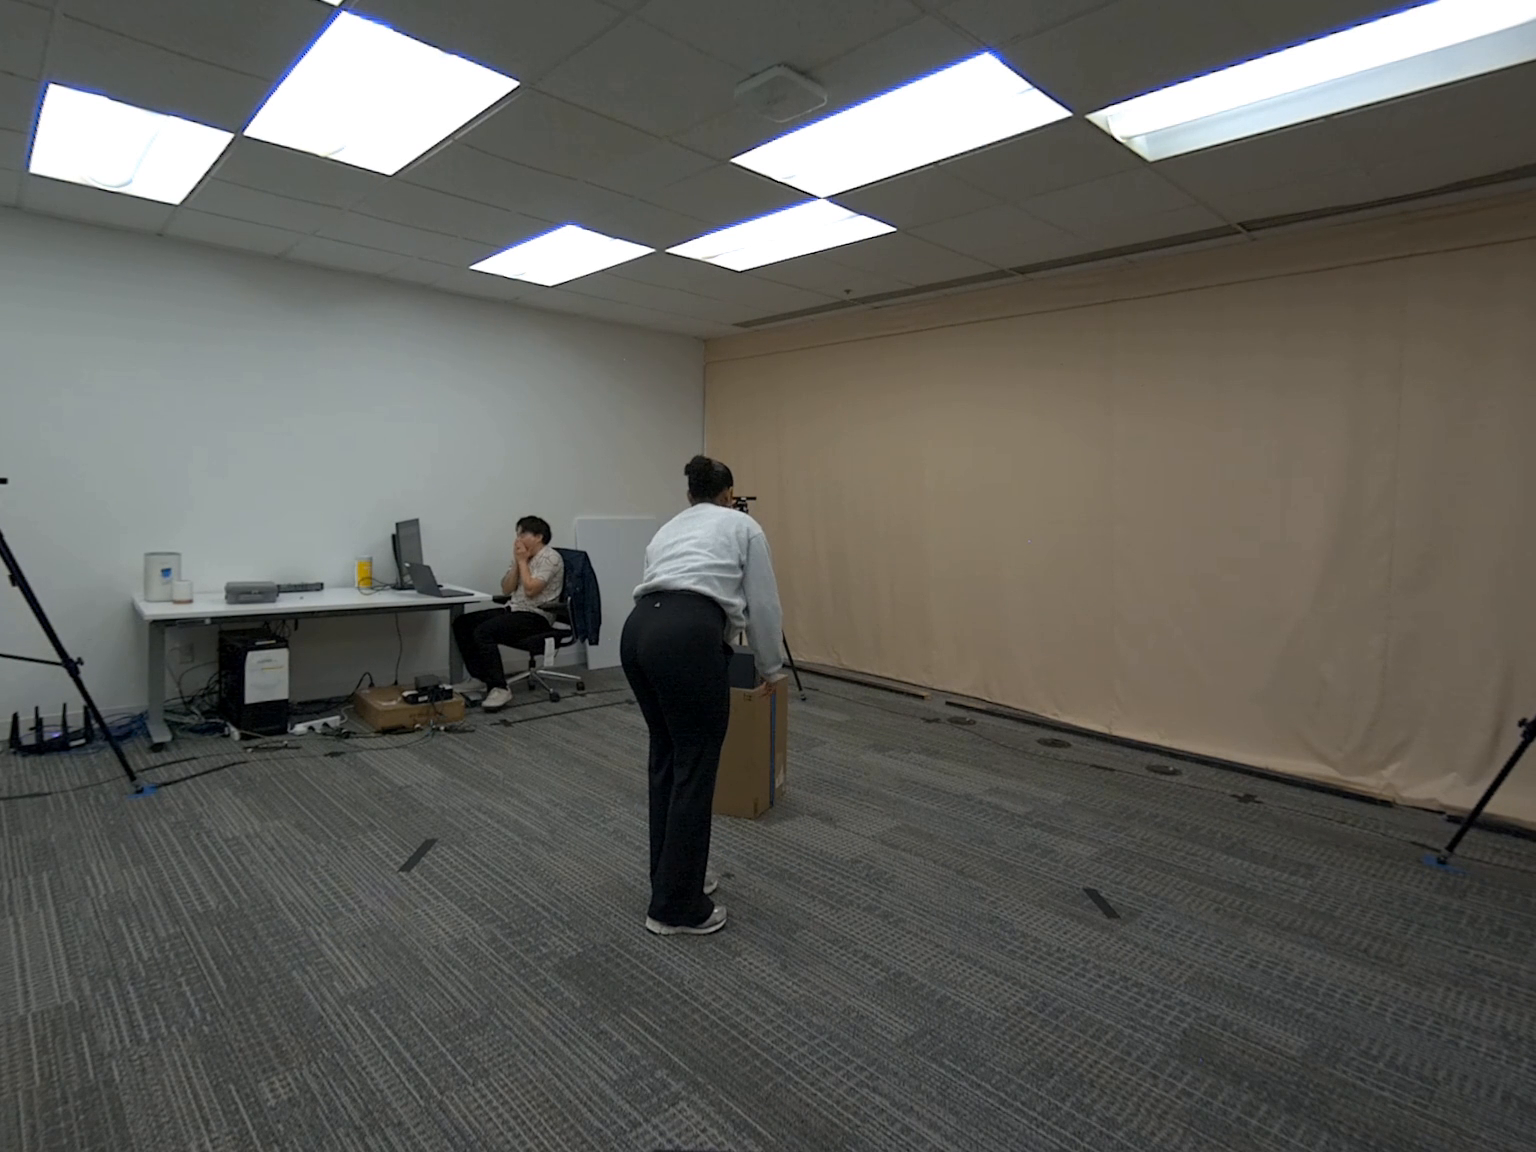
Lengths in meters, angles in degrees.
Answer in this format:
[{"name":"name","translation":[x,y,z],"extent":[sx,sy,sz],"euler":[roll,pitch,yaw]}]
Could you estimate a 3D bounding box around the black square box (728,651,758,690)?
[{"name":"black square box","translation":[-0.141,0.400,3.782],"extent":[0.231,0.155,0.214],"euler":[3,3,17]}]
